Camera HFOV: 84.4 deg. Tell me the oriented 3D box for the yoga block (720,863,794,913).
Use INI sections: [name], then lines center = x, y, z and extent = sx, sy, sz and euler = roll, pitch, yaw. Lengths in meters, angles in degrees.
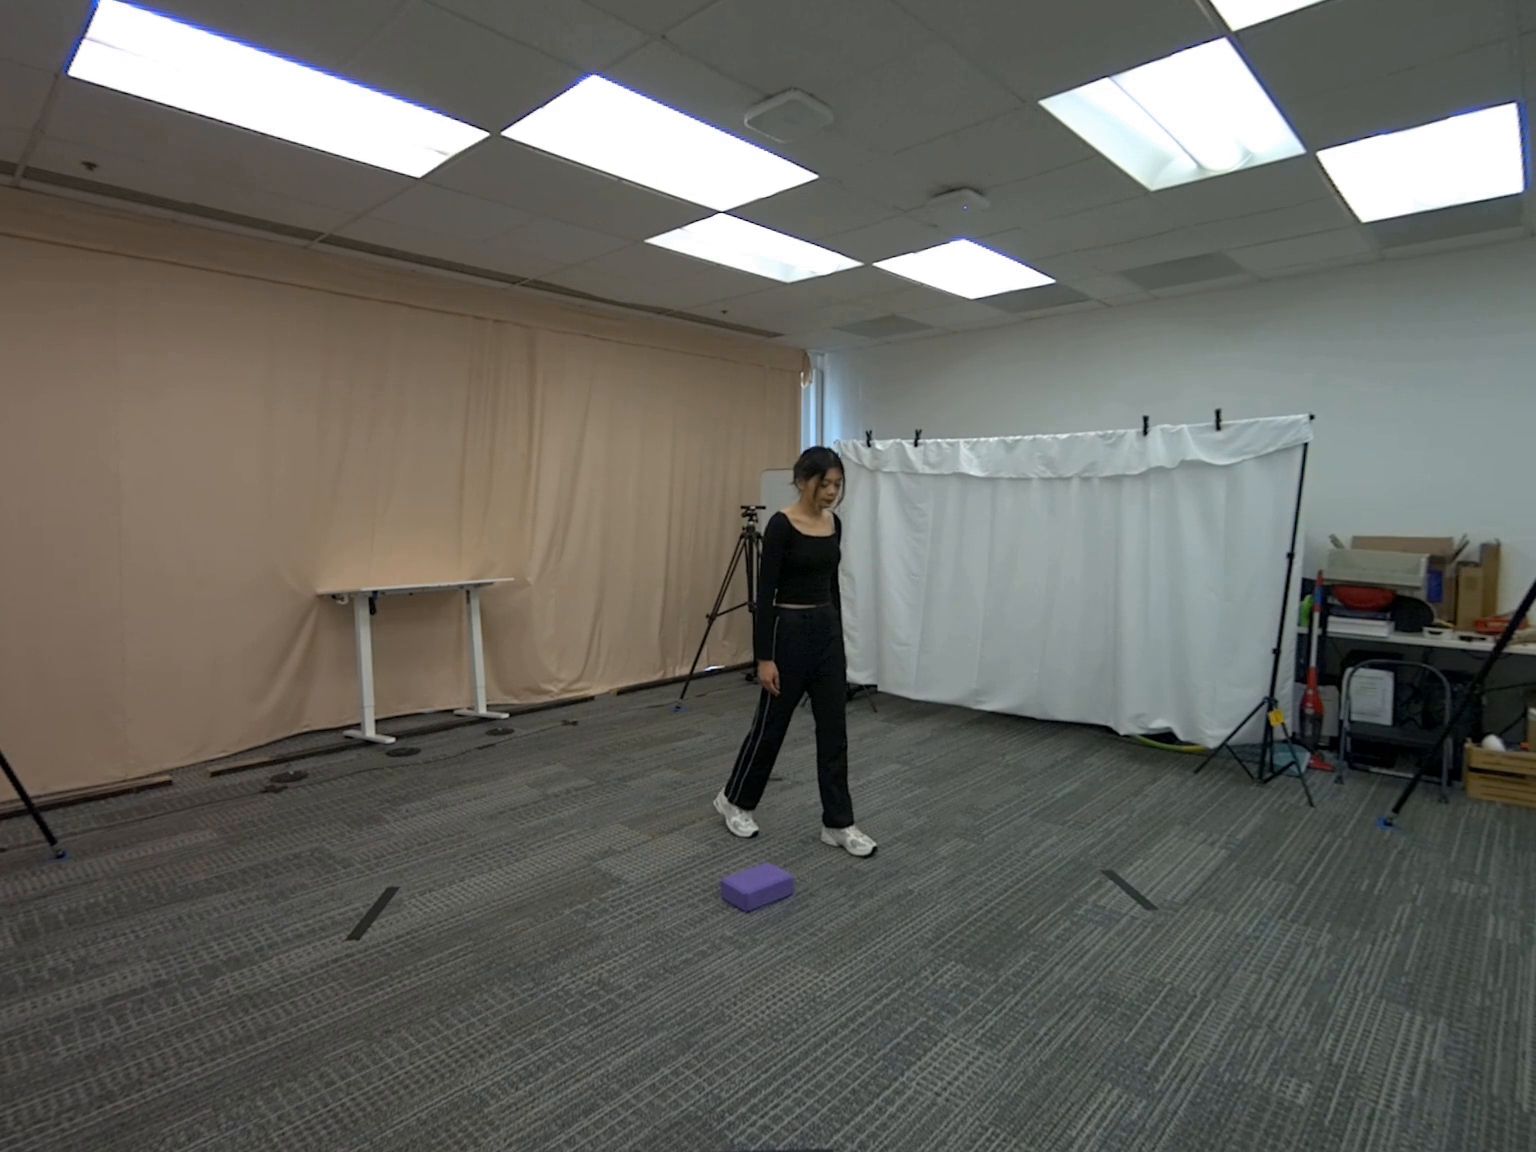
[yoga block]
center = -0.034, 1.098, 2.994
extent = 0.222, 0.076, 0.154
euler = -4, 7, -40
